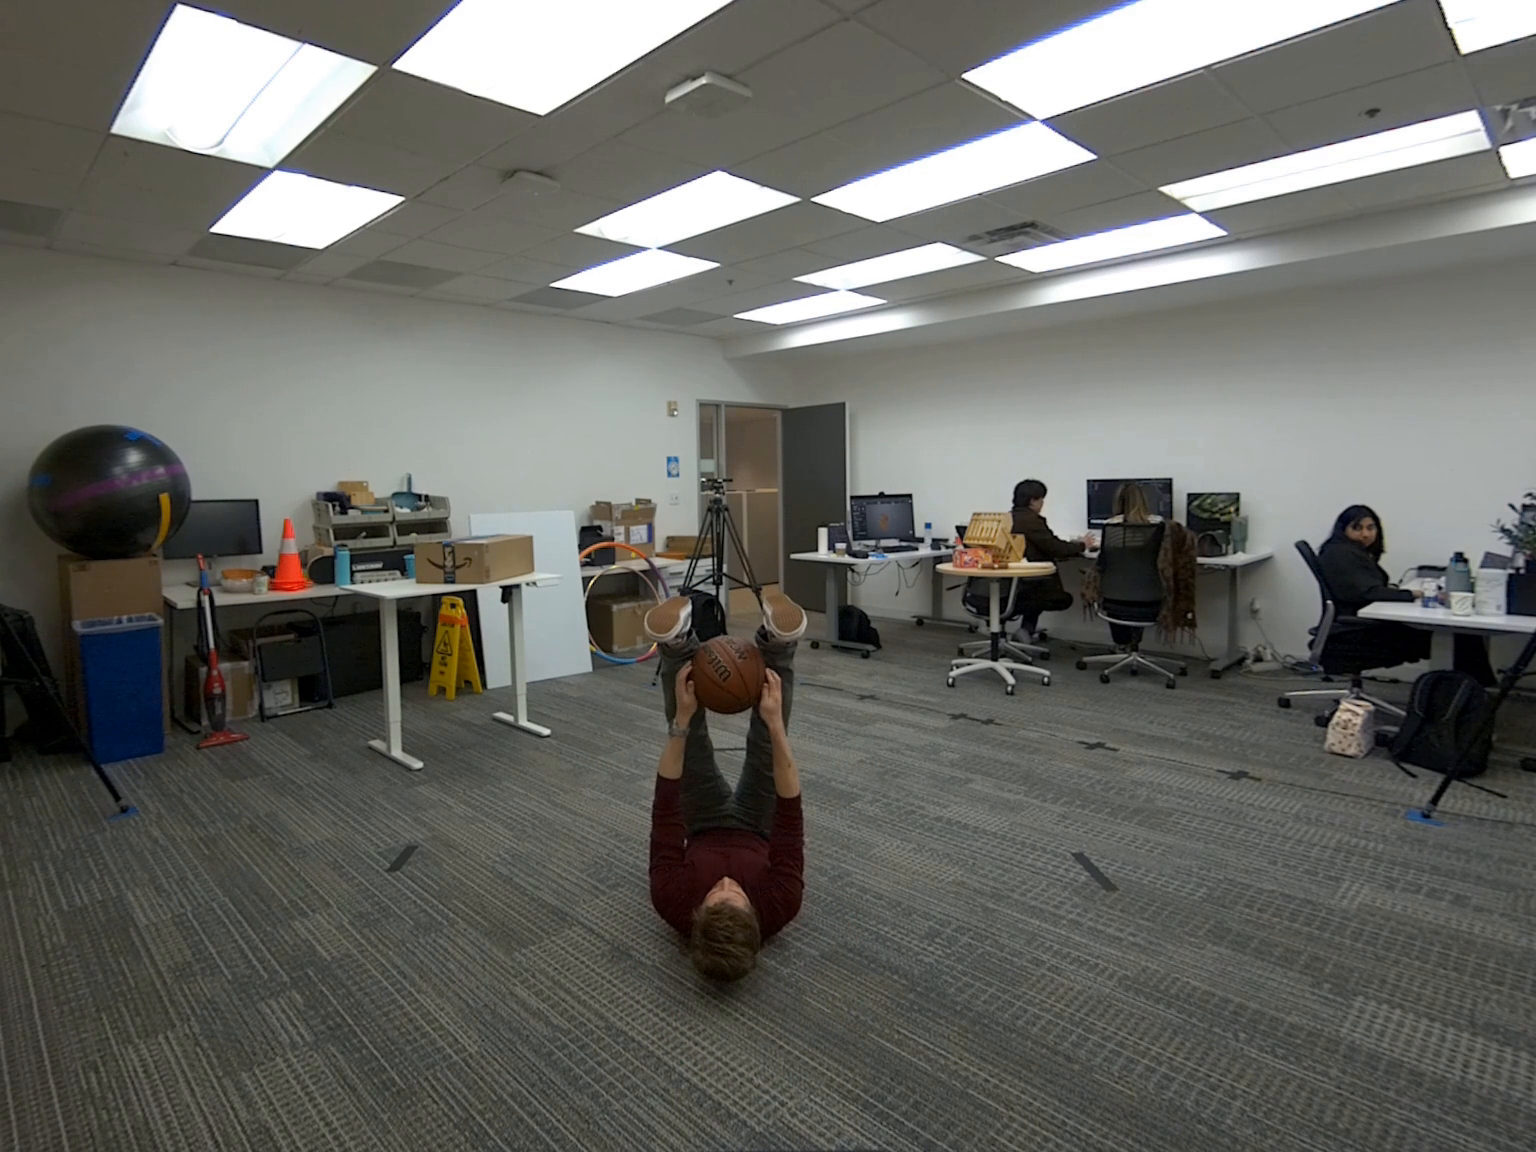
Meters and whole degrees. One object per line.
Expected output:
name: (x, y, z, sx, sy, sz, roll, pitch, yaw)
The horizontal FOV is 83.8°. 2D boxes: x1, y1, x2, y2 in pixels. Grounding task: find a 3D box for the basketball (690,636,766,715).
basketball: (-0.118, 0.298, 2.610, 0.236, 0.235, 0.237, -1, 5, -2)
